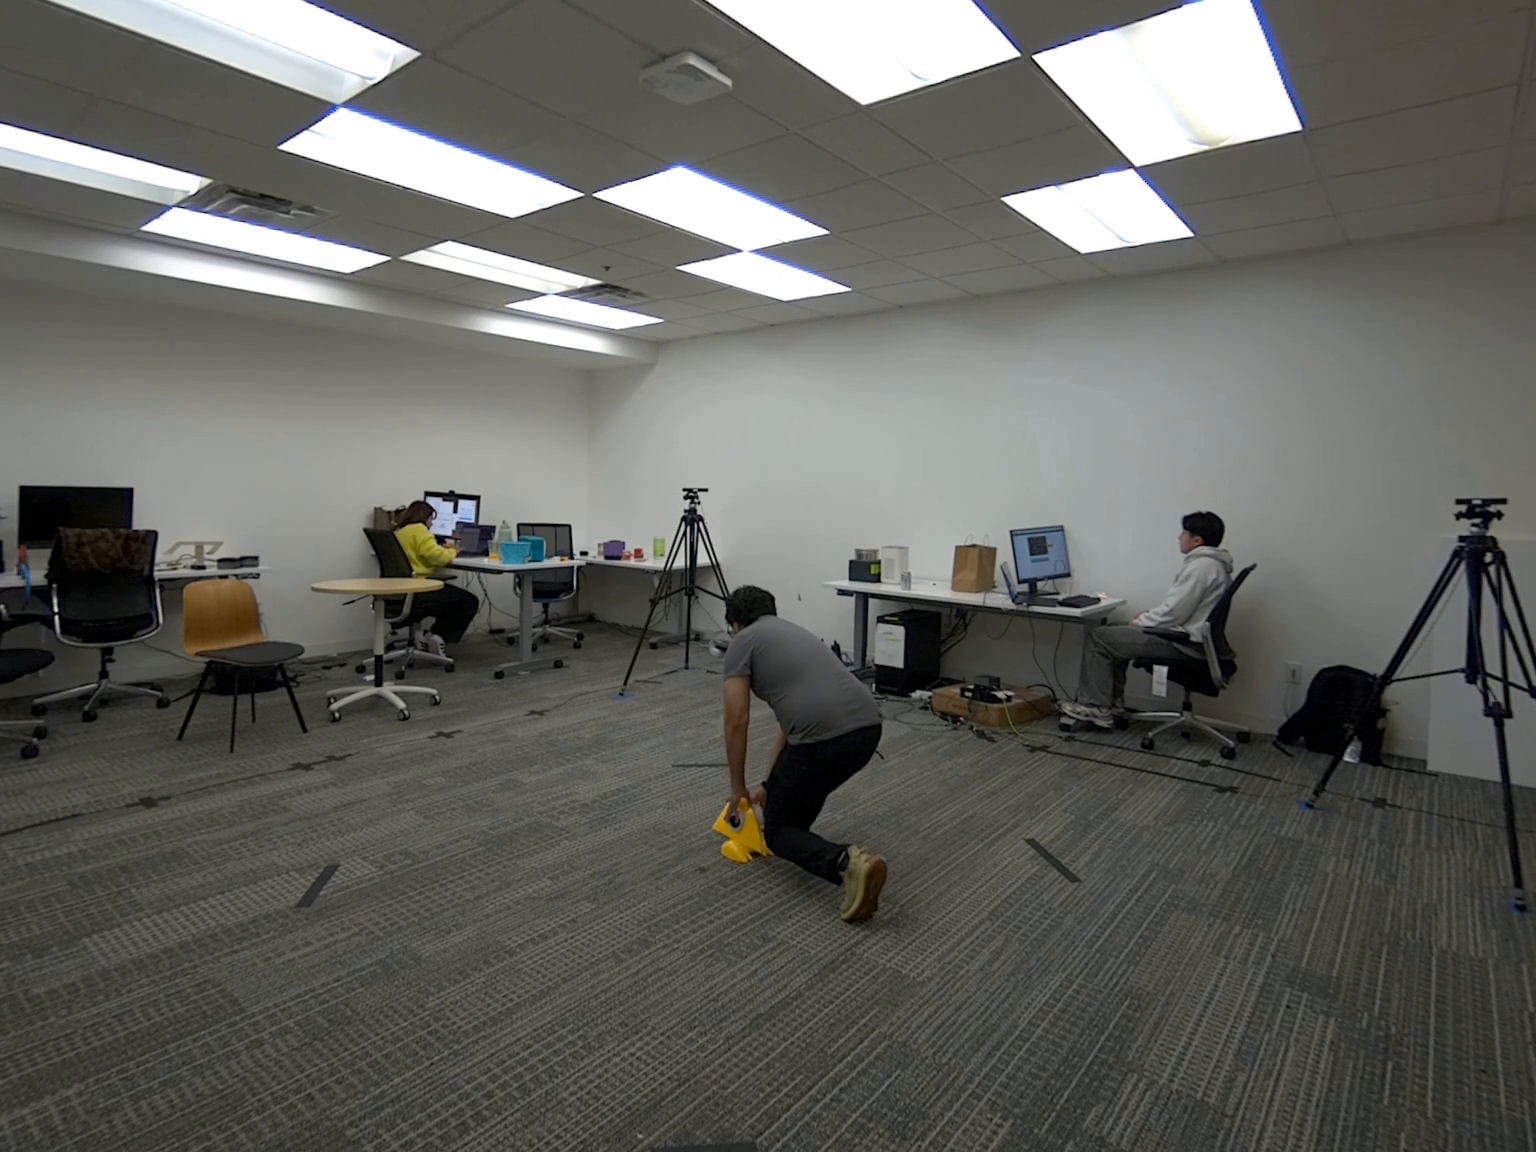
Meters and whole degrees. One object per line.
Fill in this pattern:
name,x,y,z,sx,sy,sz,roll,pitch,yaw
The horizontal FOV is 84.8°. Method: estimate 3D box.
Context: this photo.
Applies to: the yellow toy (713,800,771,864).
yellow toy,-0.088,0.944,3.278,0.199,0.230,0.199,0,3,-35
